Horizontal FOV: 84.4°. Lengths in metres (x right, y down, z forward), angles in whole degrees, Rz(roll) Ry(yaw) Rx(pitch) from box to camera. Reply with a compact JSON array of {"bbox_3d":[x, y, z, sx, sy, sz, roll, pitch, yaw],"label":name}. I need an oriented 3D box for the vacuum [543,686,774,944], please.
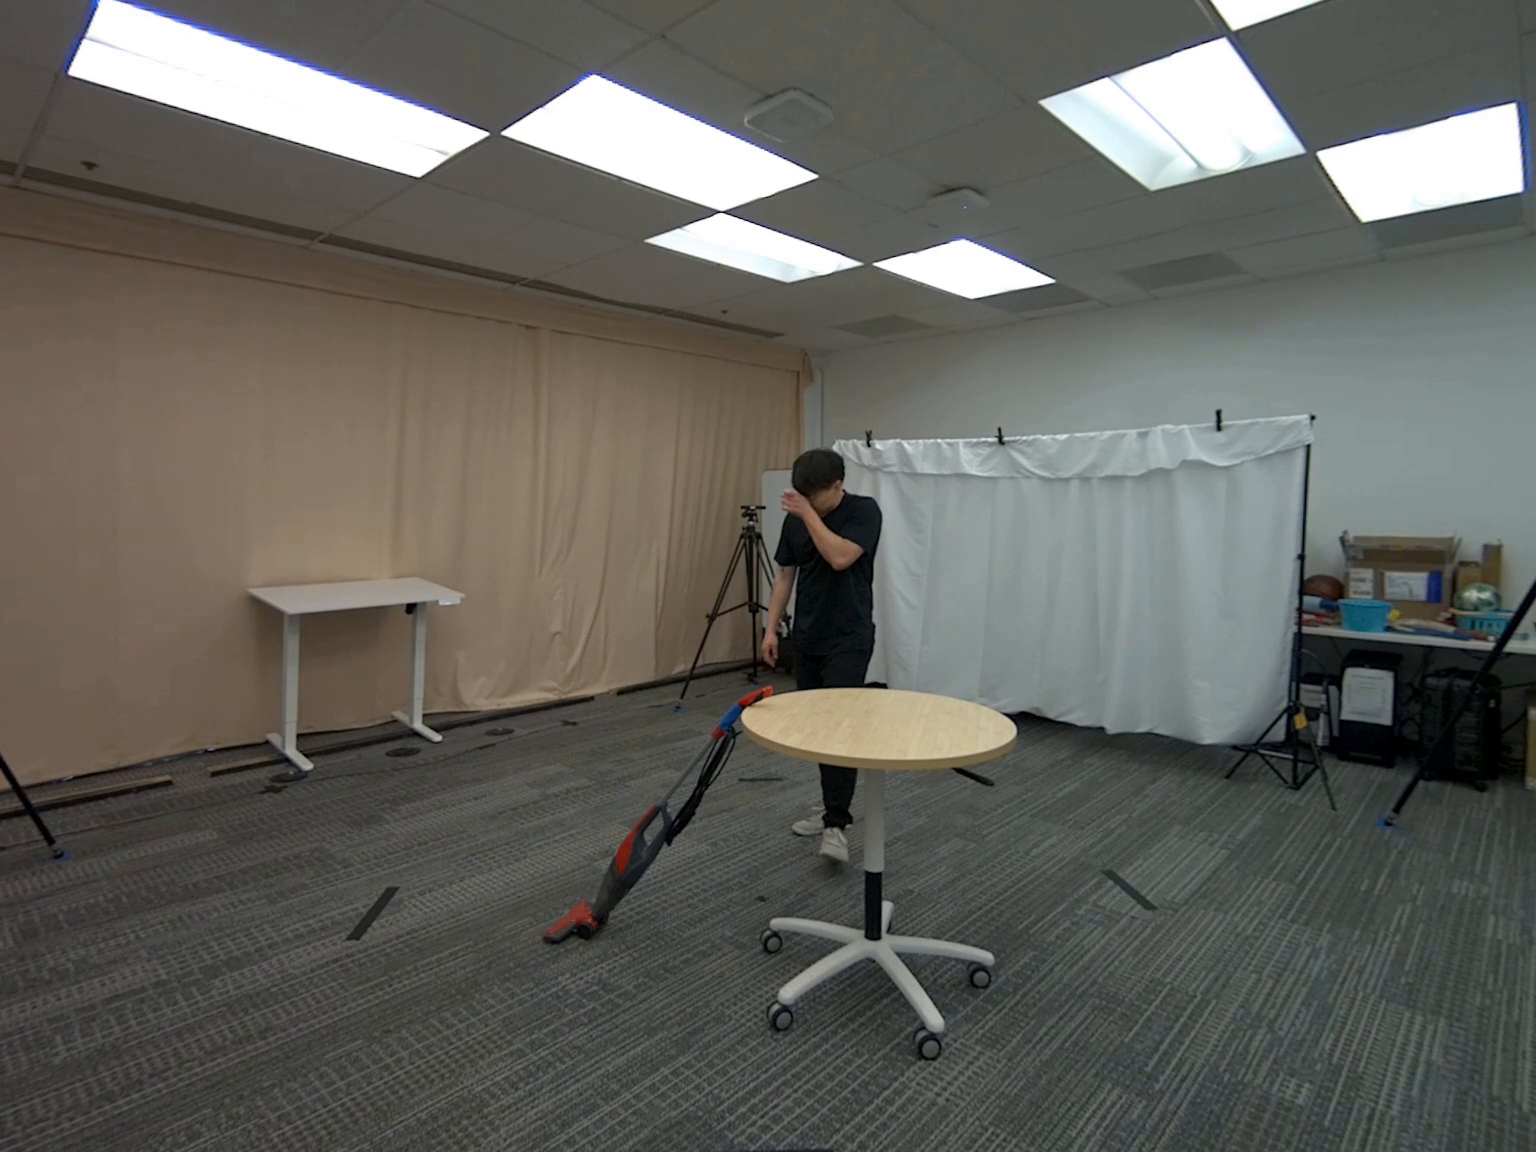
[{"bbox_3d":[-0.317,0.753,2.656,0.146,1.051,0.248,40,15,13],"label":"vacuum"}]
